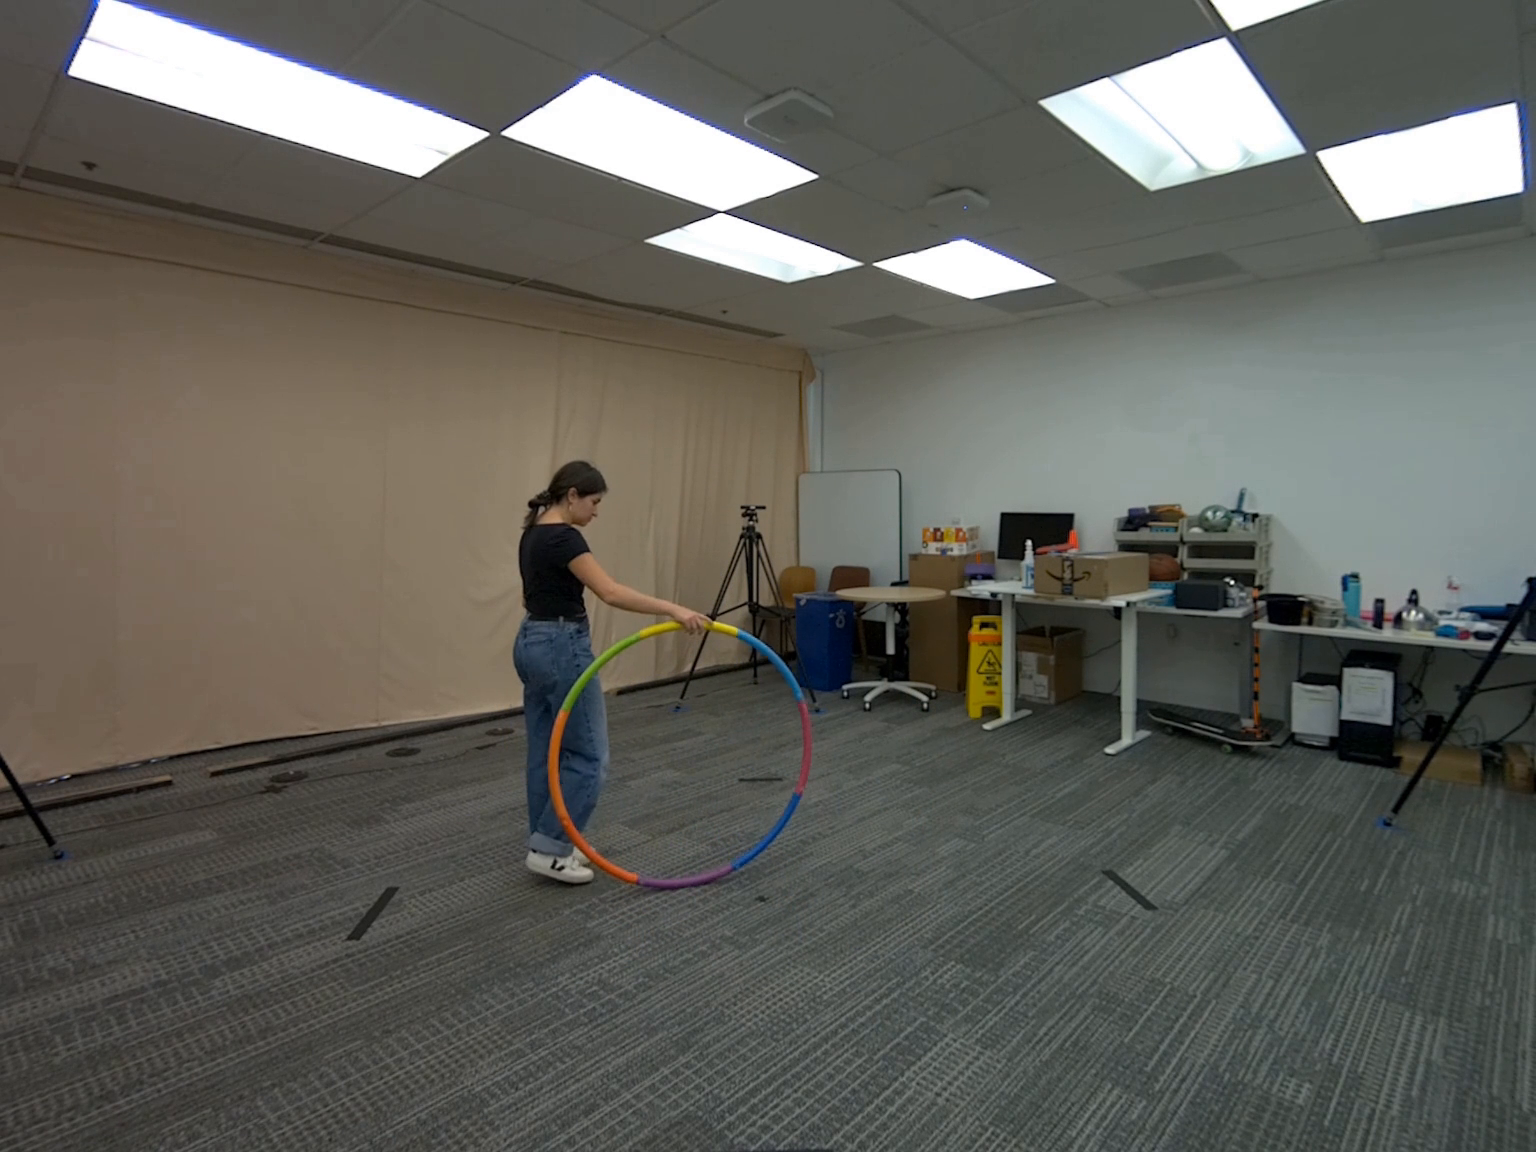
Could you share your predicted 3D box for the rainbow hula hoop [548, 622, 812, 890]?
[{"bbox_3d":[-0.287,0.652,3.068,0.960,0.977,0.036,-1,3,-18],"label":"rainbow hula hoop"}]
